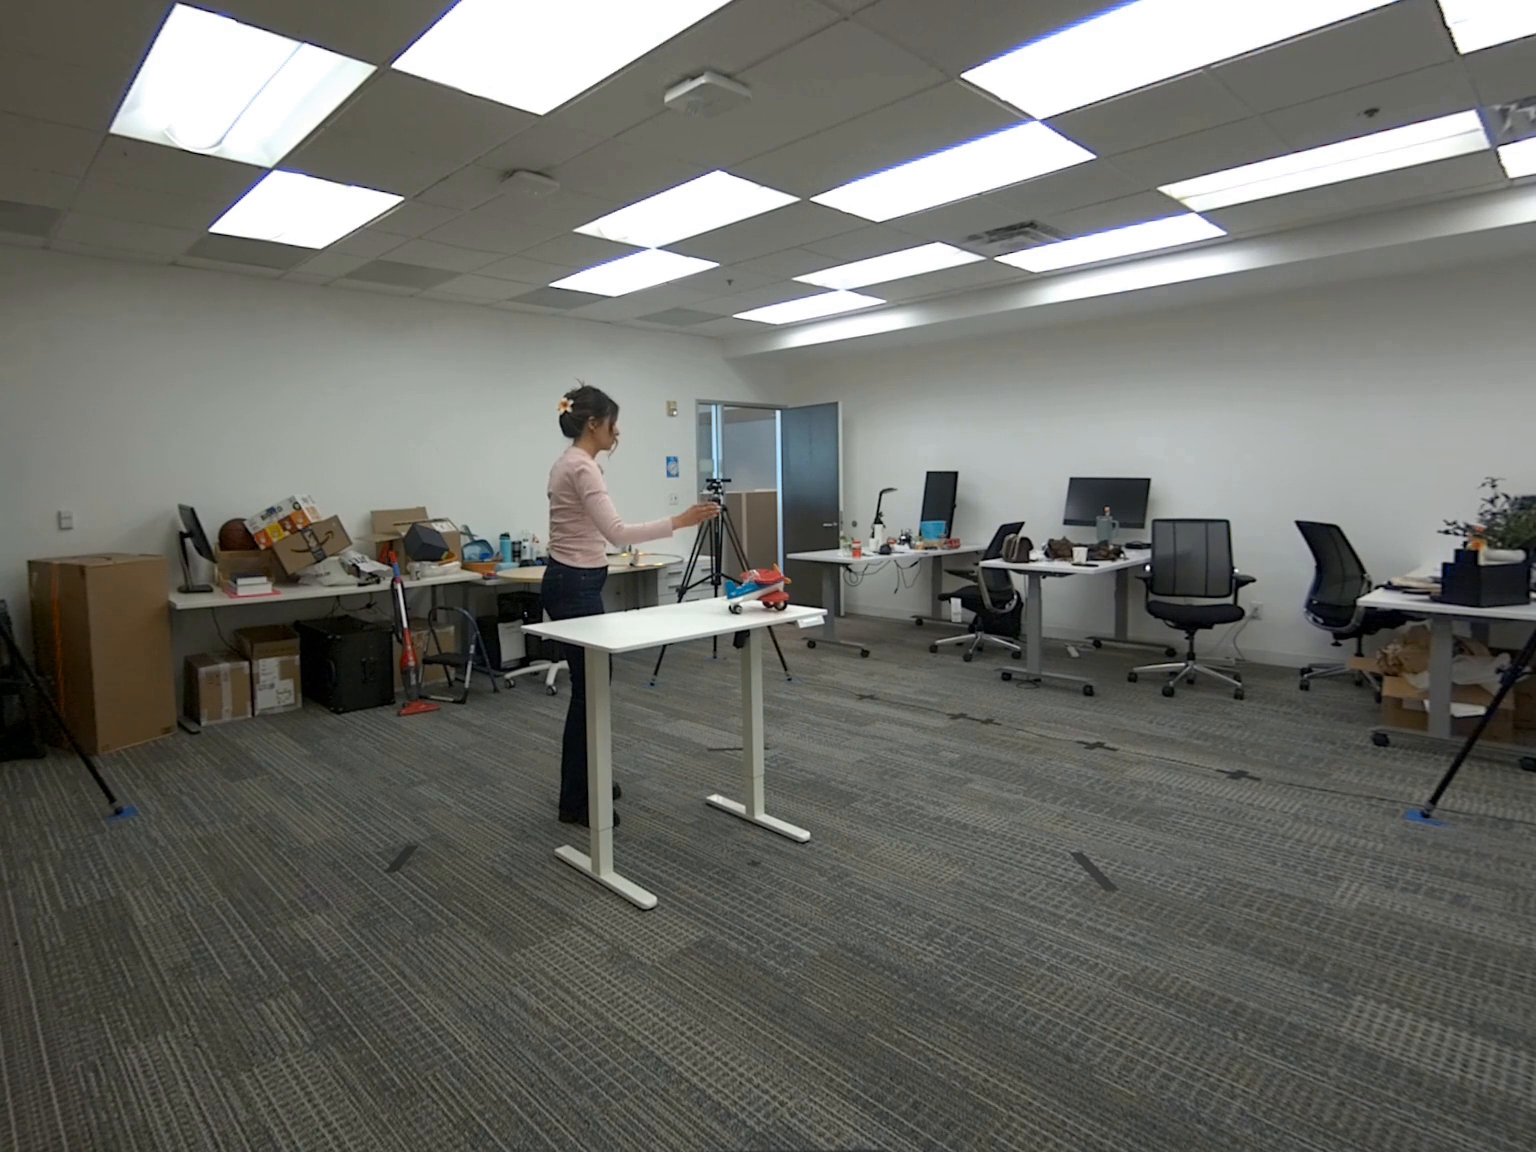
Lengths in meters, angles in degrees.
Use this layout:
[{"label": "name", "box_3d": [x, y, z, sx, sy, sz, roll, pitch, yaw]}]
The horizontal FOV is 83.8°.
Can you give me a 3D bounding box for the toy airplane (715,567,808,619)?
[{"label": "toy airplane", "box_3d": [-0.024, 0.059, 3.301, 0.258, 0.156, 0.253, 2, 6, 33]}]
